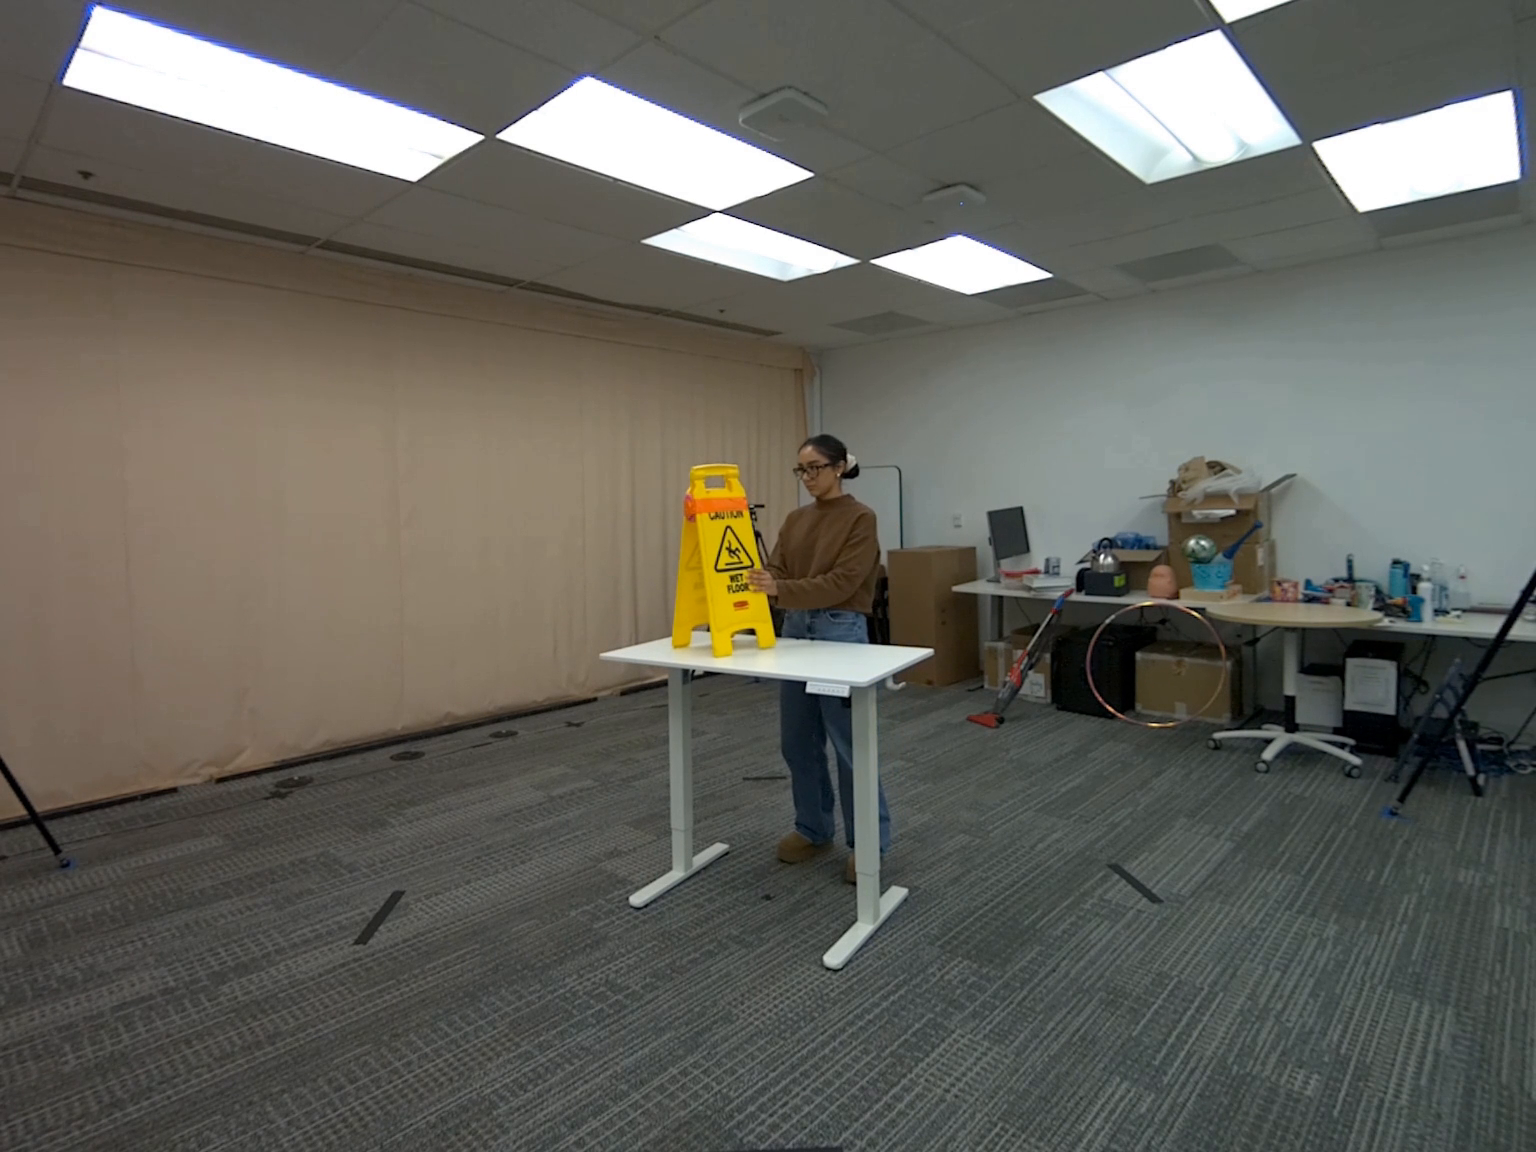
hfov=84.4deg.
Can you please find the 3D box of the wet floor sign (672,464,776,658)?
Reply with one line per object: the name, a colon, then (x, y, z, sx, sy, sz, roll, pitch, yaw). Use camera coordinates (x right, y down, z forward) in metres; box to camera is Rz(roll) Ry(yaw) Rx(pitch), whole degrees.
wet floor sign: (-0.169, -0.067, 2.988, 0.274, 0.644, 0.299, -7, 6, -38)
